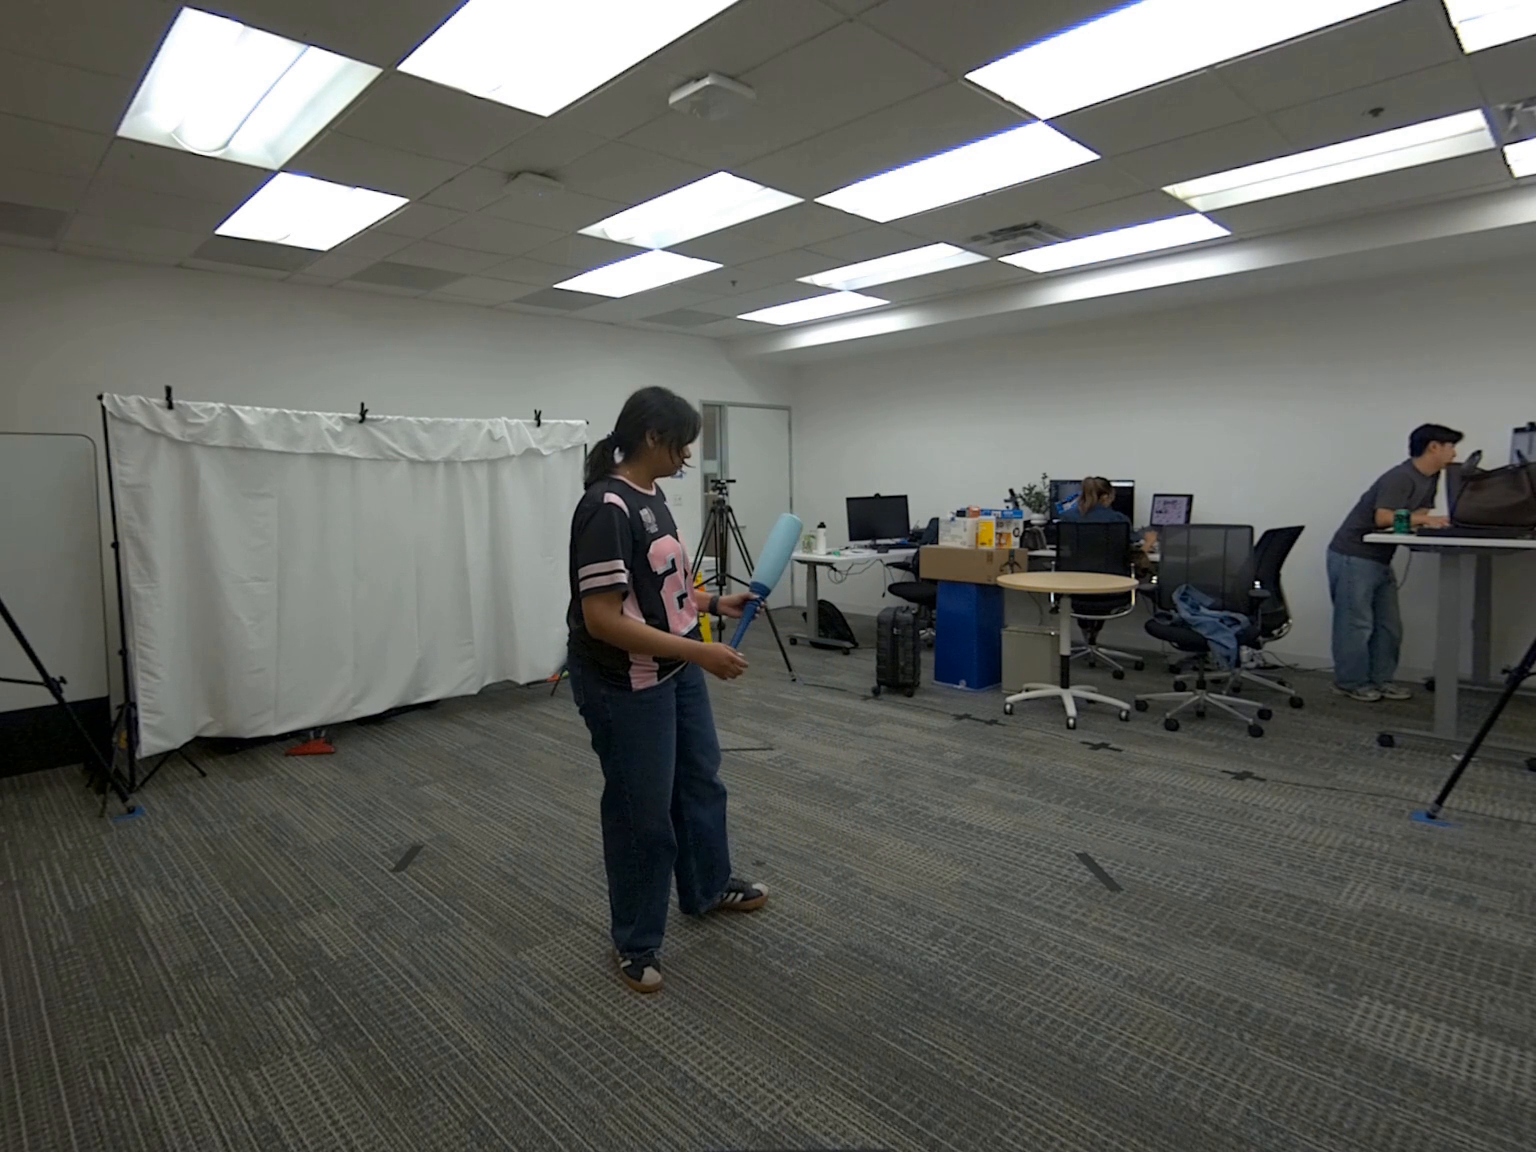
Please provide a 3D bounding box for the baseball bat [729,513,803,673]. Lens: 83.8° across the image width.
[{"bbox_3d":[-0.033,0.060,2.529,0.090,0.547,0.087,23,-21,8],"label":"baseball bat"}]
